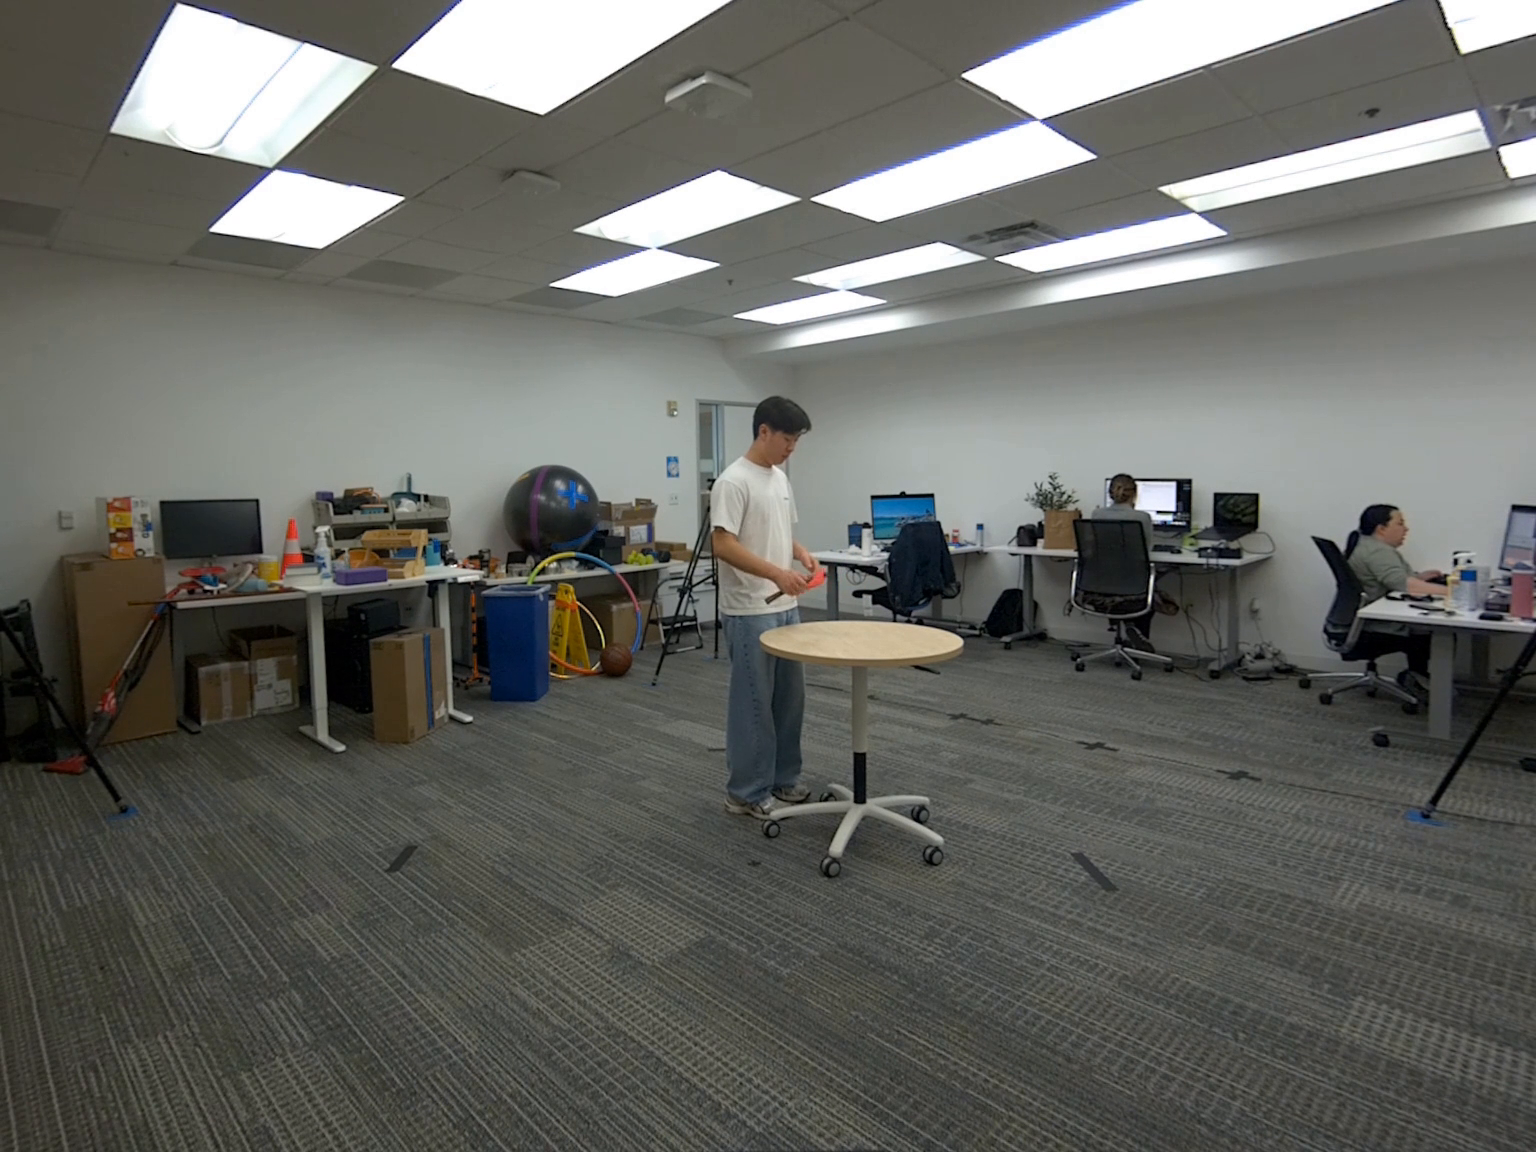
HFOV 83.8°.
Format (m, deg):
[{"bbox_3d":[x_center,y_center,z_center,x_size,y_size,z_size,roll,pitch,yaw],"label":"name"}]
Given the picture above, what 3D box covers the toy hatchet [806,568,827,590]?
[{"bbox_3d":[0.095,0.073,3.295,0.271,0.029,0.134,-31,22,8],"label":"toy hatchet"}]
